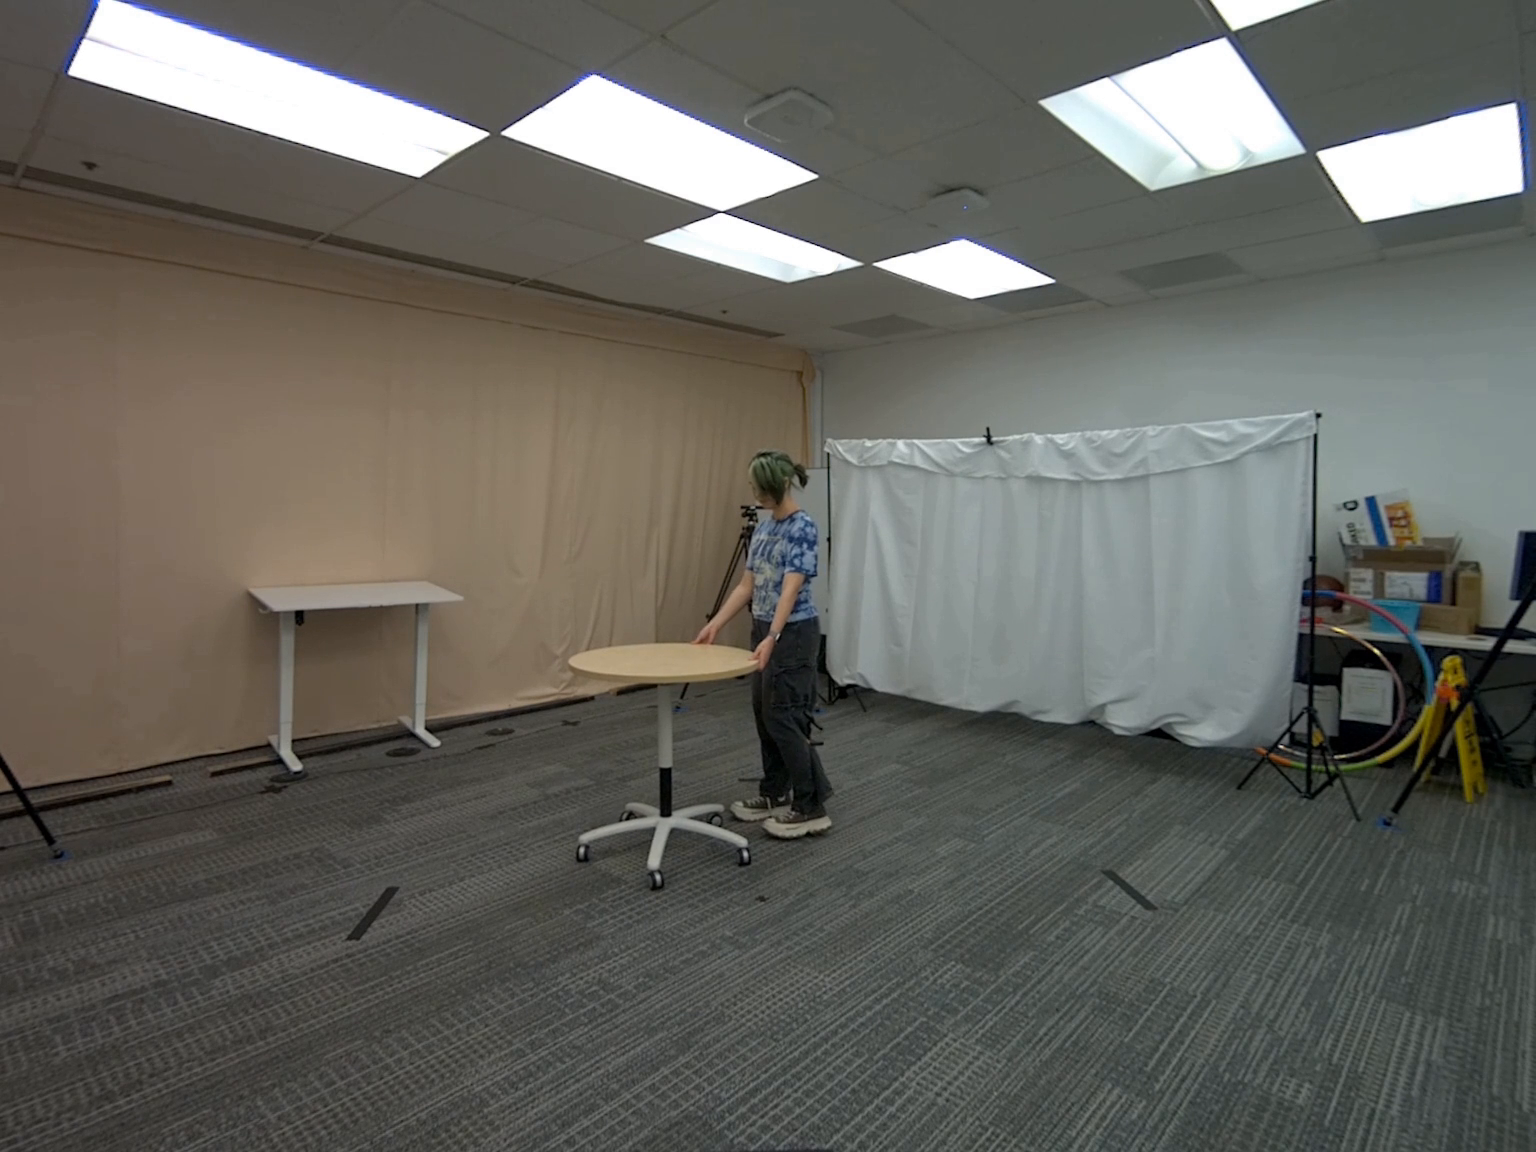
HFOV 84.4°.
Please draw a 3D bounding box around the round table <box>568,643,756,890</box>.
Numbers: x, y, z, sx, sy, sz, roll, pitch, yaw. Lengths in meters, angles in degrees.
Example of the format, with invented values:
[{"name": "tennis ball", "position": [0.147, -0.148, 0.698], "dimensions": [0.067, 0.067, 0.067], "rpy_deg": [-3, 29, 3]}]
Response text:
[{"name": "round table", "position": [-0.408, 0.724, 3.392], "dimensions": [0.763, 0.792, 0.766], "rpy_deg": [0, 3, -2]}]
